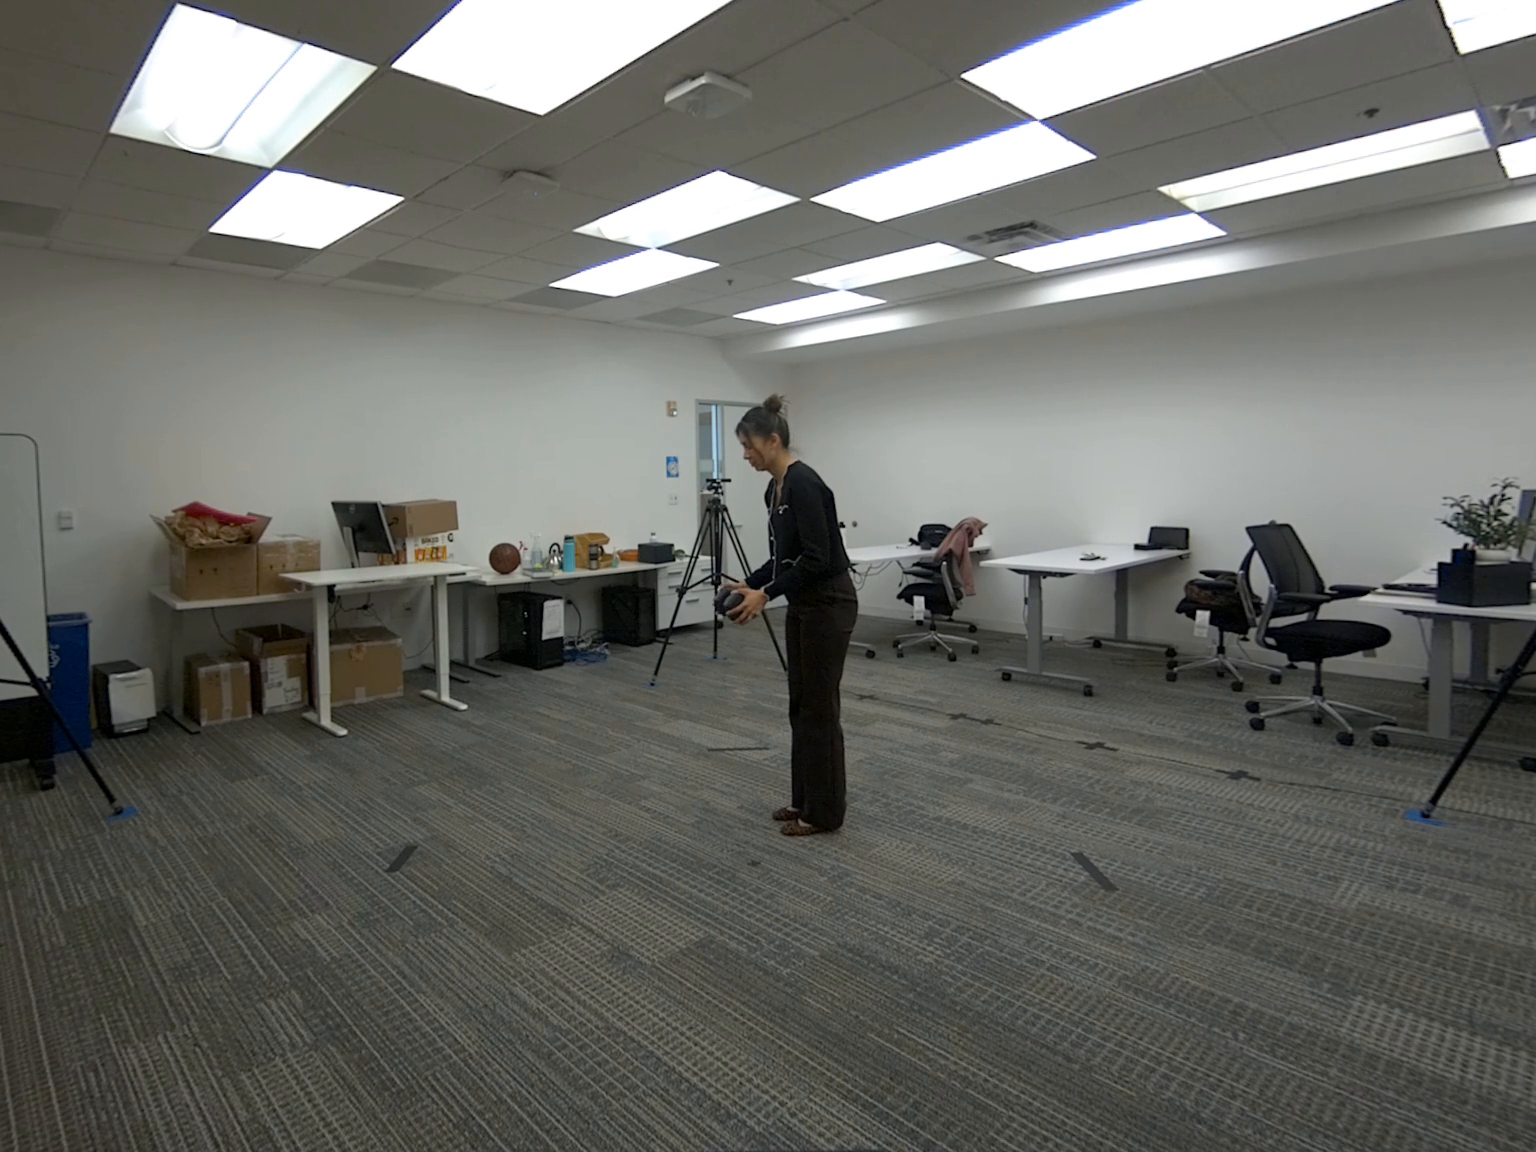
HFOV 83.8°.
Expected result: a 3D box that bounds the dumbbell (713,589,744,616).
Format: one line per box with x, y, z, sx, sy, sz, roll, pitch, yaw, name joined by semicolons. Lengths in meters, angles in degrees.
-0.119;0.111;3.376;0.107;0.123;0.297;34;-2;-10;dumbbell
